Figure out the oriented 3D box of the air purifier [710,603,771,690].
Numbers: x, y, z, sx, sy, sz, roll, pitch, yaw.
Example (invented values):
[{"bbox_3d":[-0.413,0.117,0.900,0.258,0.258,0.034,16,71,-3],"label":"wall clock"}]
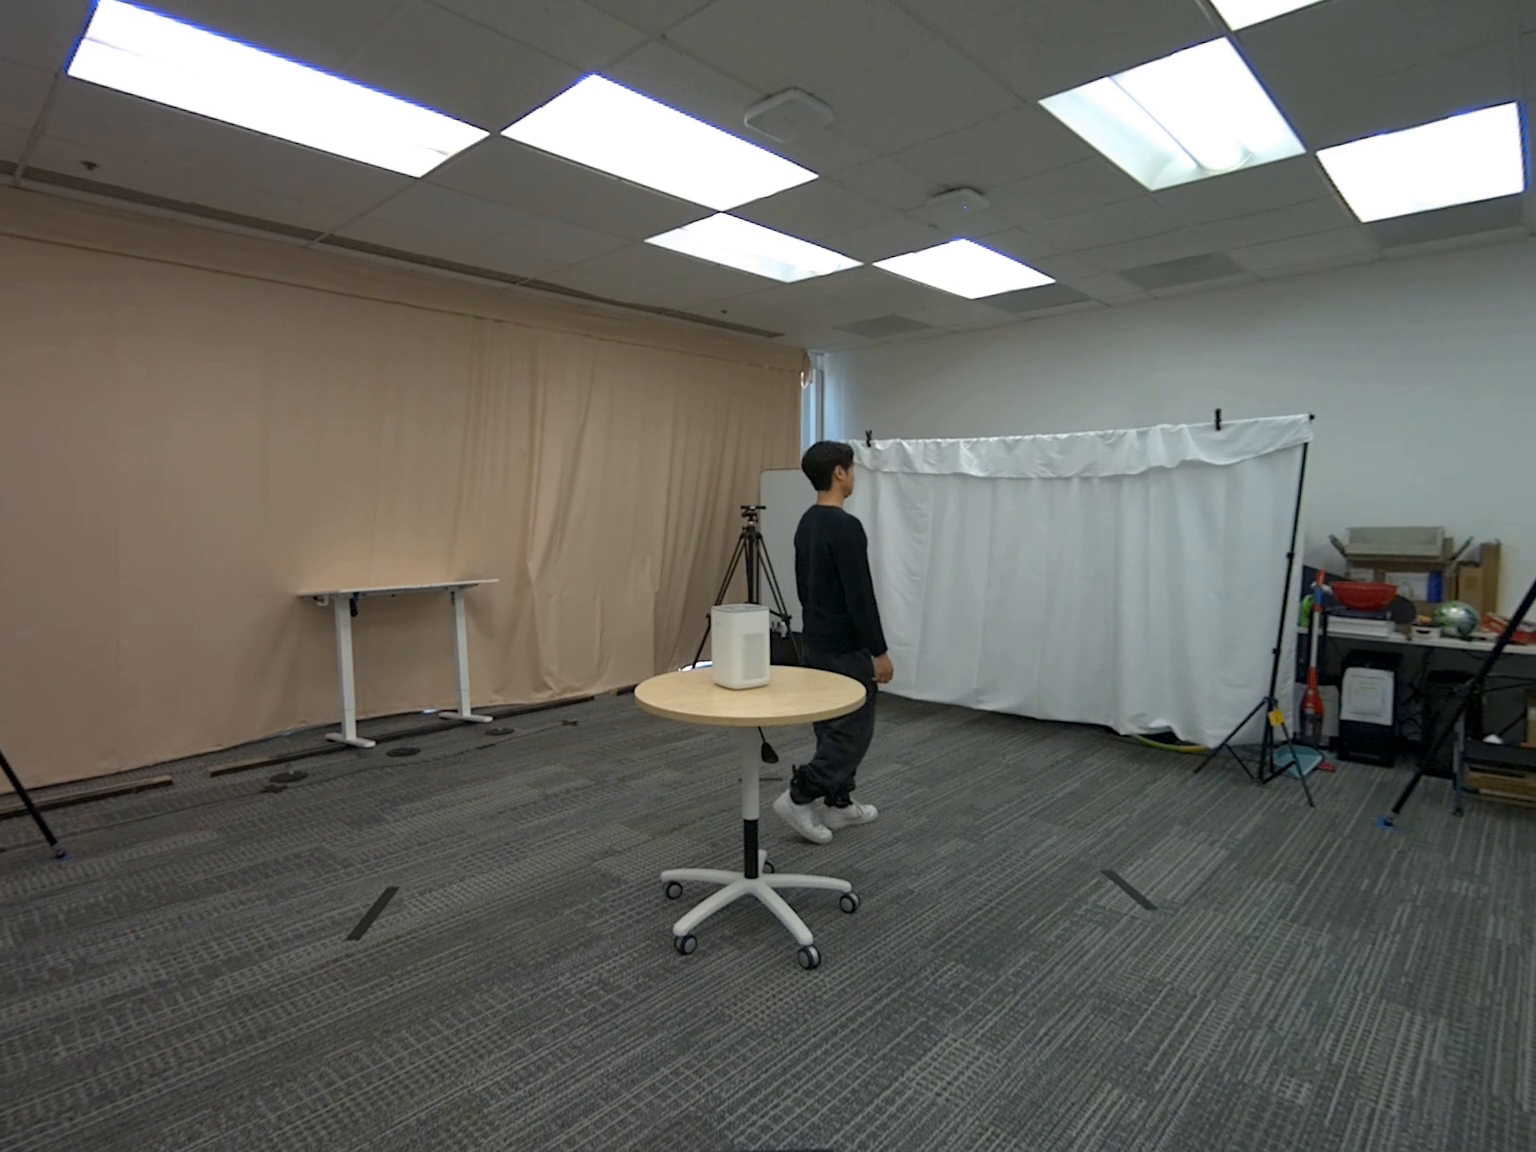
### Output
[{"bbox_3d":[-0.091,0.235,2.848,0.167,0.264,0.176,-4,5,-34],"label":"air purifier"}]
